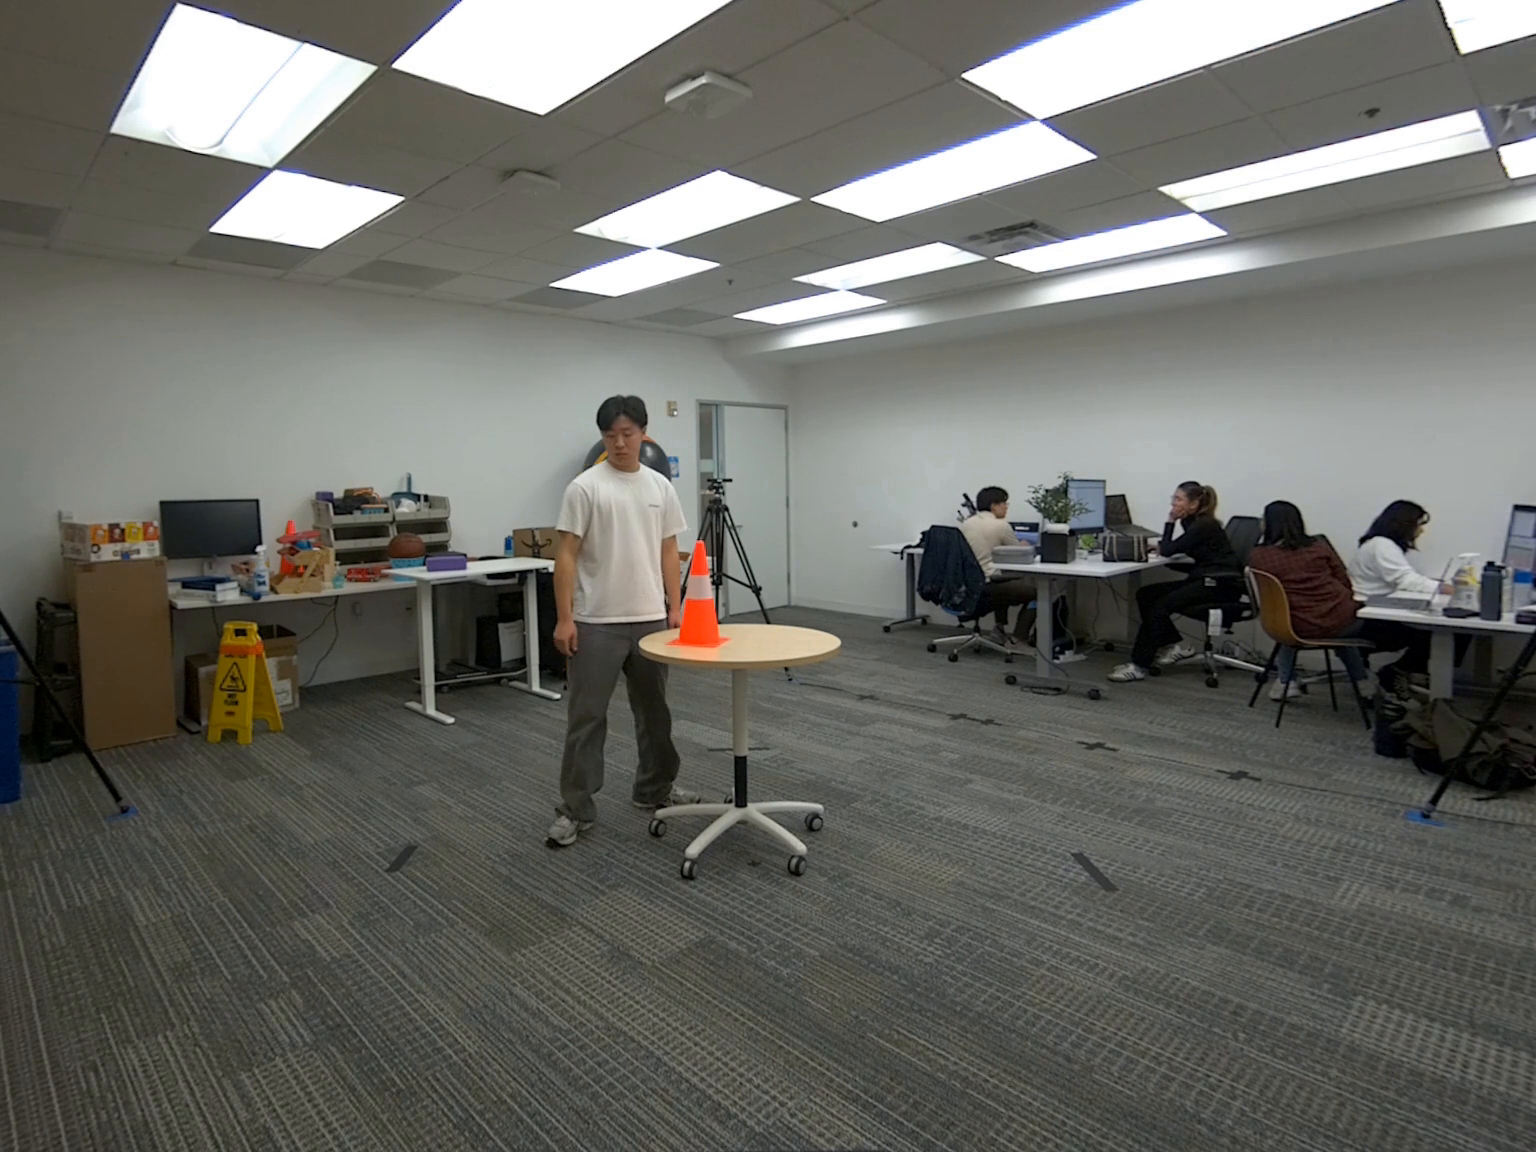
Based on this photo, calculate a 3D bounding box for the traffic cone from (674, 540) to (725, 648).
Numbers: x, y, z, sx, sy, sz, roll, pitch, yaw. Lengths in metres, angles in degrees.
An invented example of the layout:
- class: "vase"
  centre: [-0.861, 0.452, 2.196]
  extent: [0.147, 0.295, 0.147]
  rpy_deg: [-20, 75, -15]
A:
- class: "traffic cone"
  centre: [-0.261, 0.063, 3.227]
  extent: [0.207, 0.381, 0.202]
  rpy_deg: [1, 6, 21]
